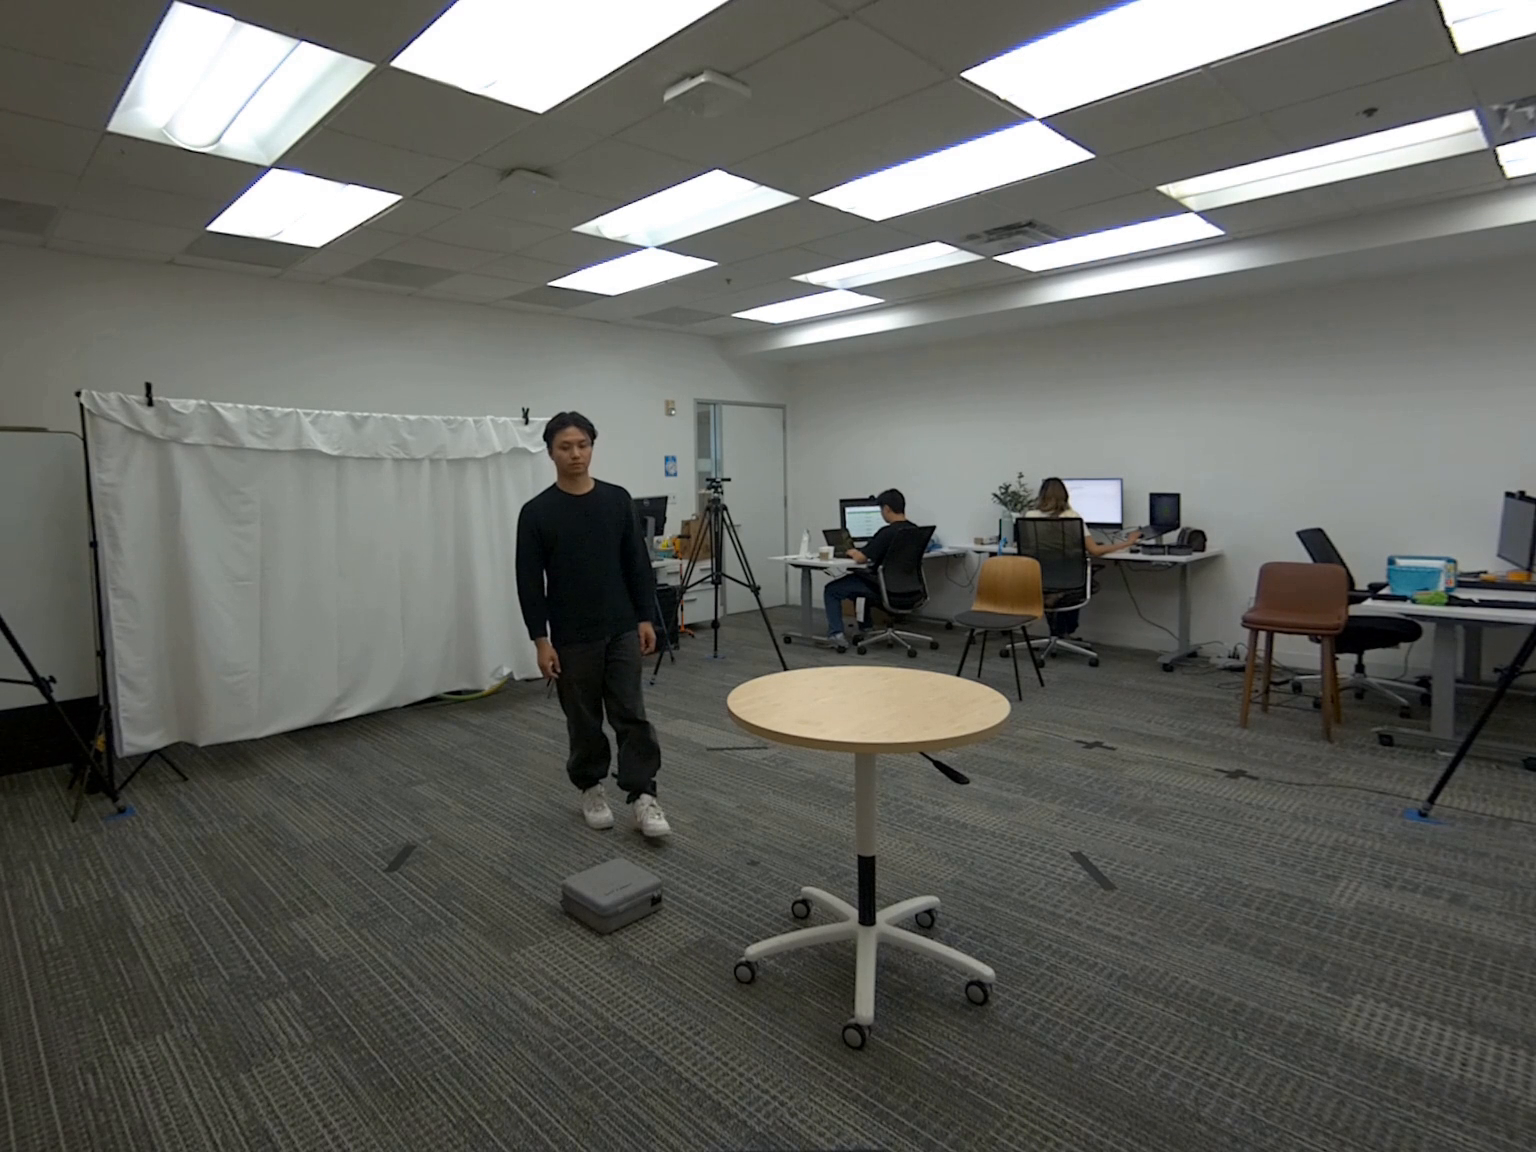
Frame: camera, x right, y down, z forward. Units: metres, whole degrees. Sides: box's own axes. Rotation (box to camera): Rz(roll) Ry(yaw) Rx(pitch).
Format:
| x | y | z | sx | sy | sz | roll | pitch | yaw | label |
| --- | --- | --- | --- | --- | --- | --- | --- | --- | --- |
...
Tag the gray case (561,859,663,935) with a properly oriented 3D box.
| x | y | z | sx | sy | sz | roll | pitch | yaw | label |
| --- | --- | --- | --- | --- | --- | --- | --- | --- | --- |
| -0.513 | 1.033 | 2.782 | 0.250 | 0.104 | 0.269 | -9 | 10 | -44 | gray case |
